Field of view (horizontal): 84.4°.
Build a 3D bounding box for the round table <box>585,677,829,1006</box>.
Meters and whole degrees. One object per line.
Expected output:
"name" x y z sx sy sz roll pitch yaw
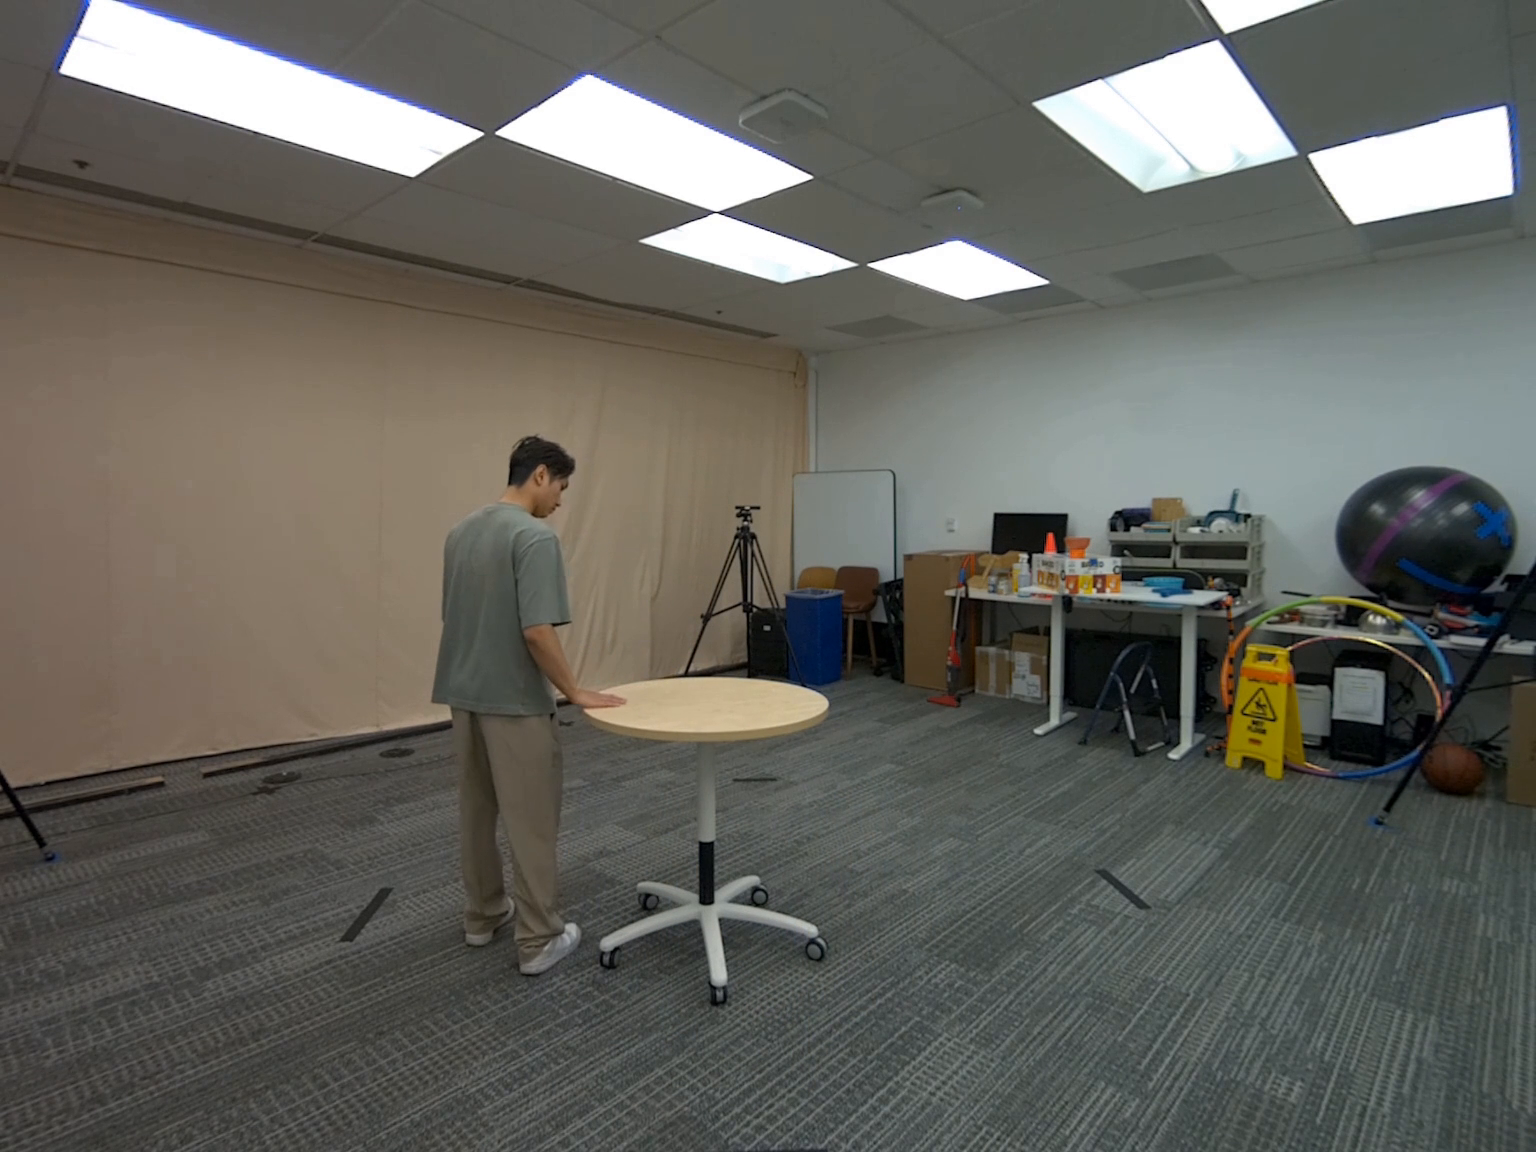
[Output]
"round table" -0.188 0.788 2.645 0.763 0.792 0.766 0 3 -2
